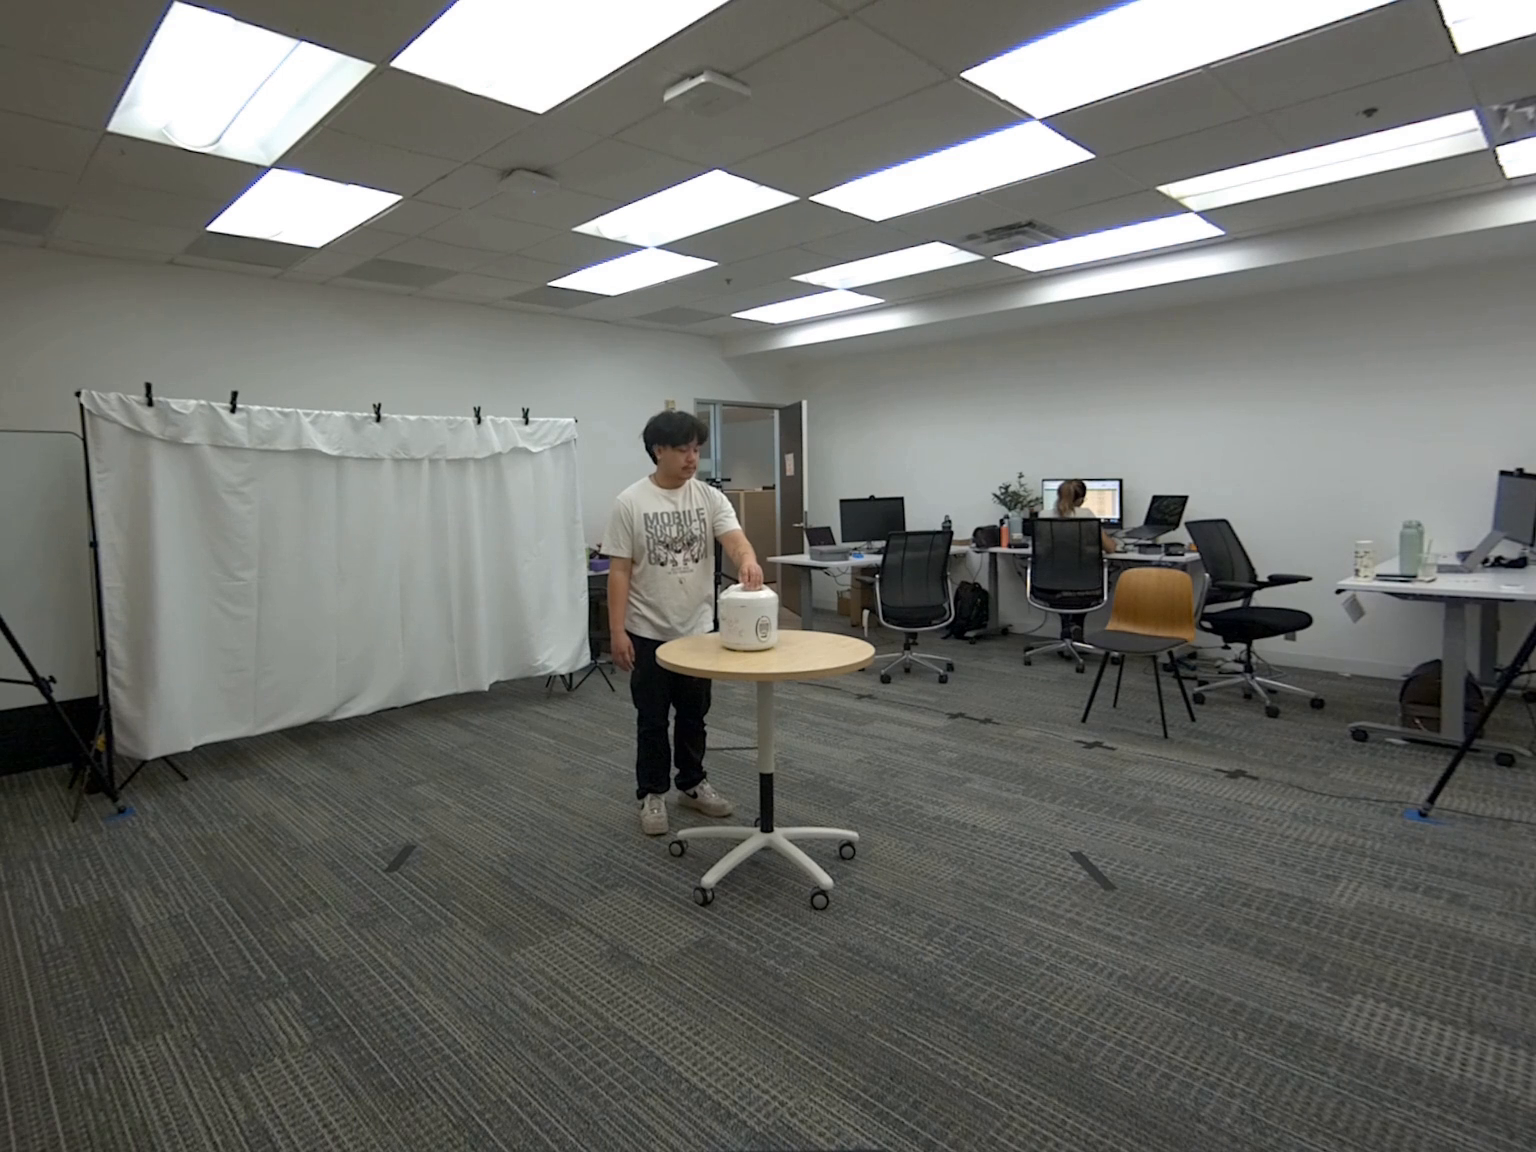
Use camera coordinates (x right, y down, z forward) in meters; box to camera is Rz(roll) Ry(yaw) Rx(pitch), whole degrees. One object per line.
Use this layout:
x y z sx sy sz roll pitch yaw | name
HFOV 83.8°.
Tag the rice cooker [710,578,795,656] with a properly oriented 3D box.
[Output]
-0.061 0.136 3.026 0.215 0.232 0.223 -3 4 -29 | rice cooker
